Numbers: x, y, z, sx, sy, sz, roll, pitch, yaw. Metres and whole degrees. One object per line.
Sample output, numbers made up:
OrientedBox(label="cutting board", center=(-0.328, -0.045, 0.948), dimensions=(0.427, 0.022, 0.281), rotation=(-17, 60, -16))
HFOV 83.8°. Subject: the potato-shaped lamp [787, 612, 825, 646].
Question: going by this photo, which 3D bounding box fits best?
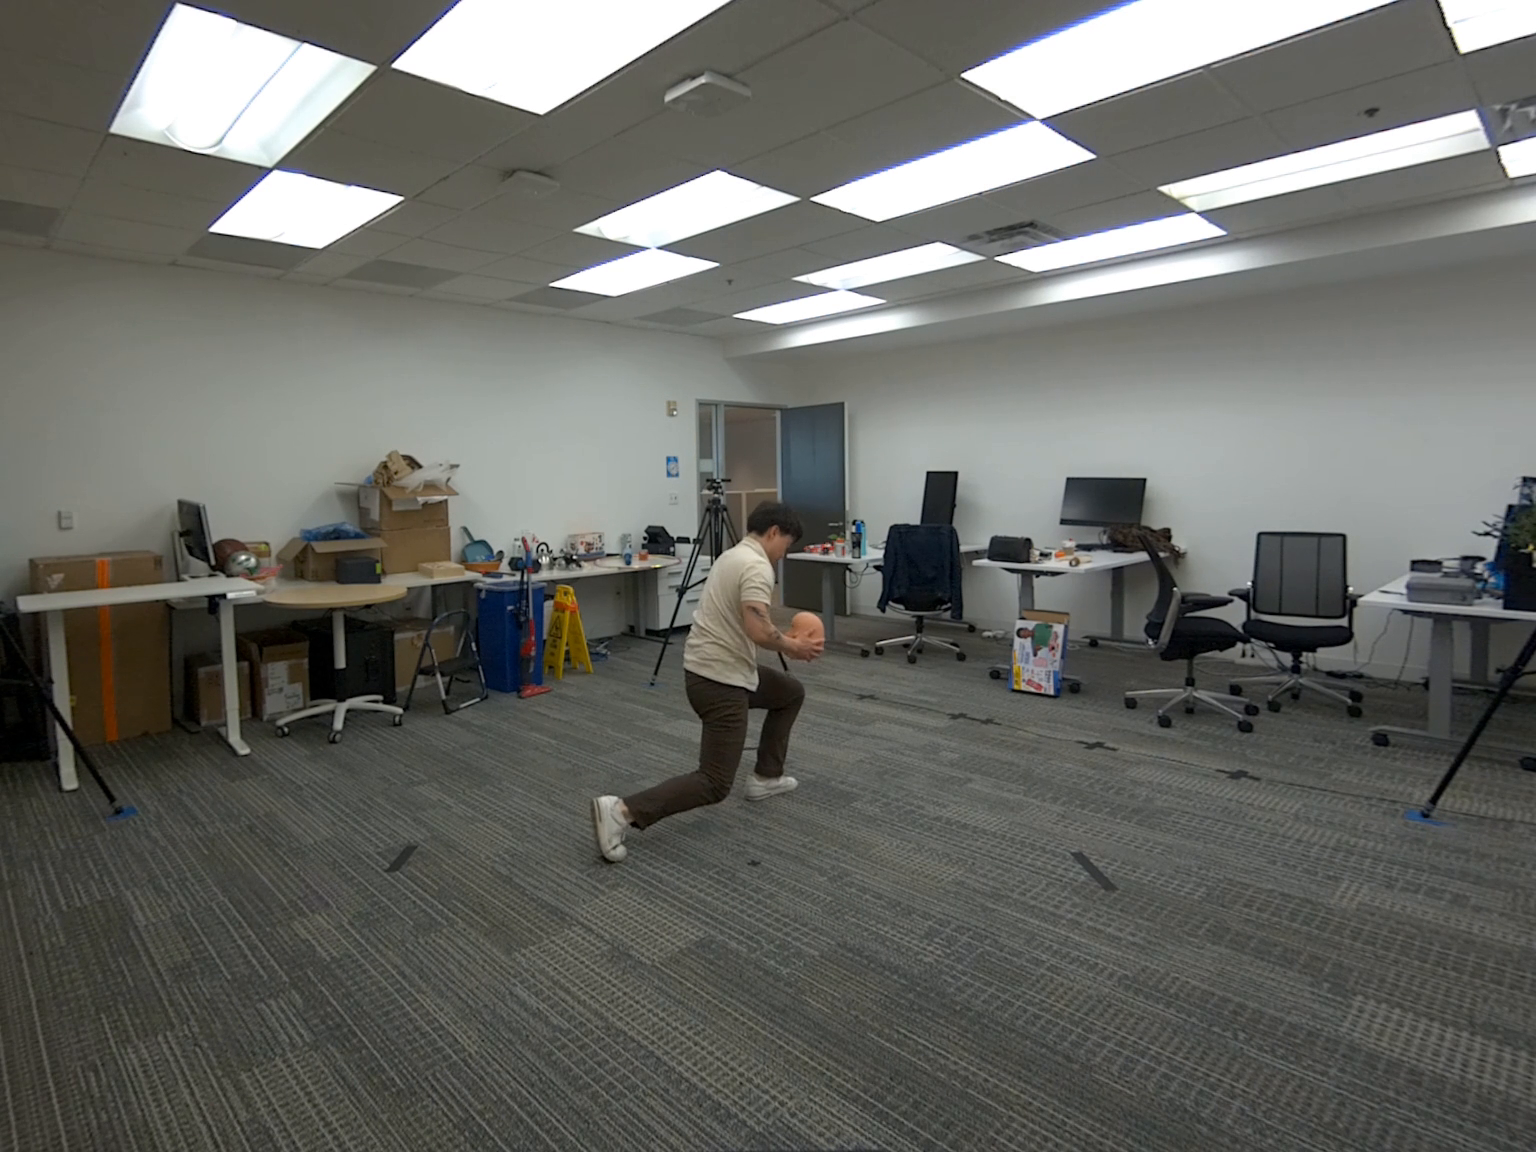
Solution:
OrientedBox(label="potato-shaped lamp", center=(0.147, 0.240, 3.645), dimensions=(0.171, 0.197, 0.166), rotation=(2, 3, -4))
